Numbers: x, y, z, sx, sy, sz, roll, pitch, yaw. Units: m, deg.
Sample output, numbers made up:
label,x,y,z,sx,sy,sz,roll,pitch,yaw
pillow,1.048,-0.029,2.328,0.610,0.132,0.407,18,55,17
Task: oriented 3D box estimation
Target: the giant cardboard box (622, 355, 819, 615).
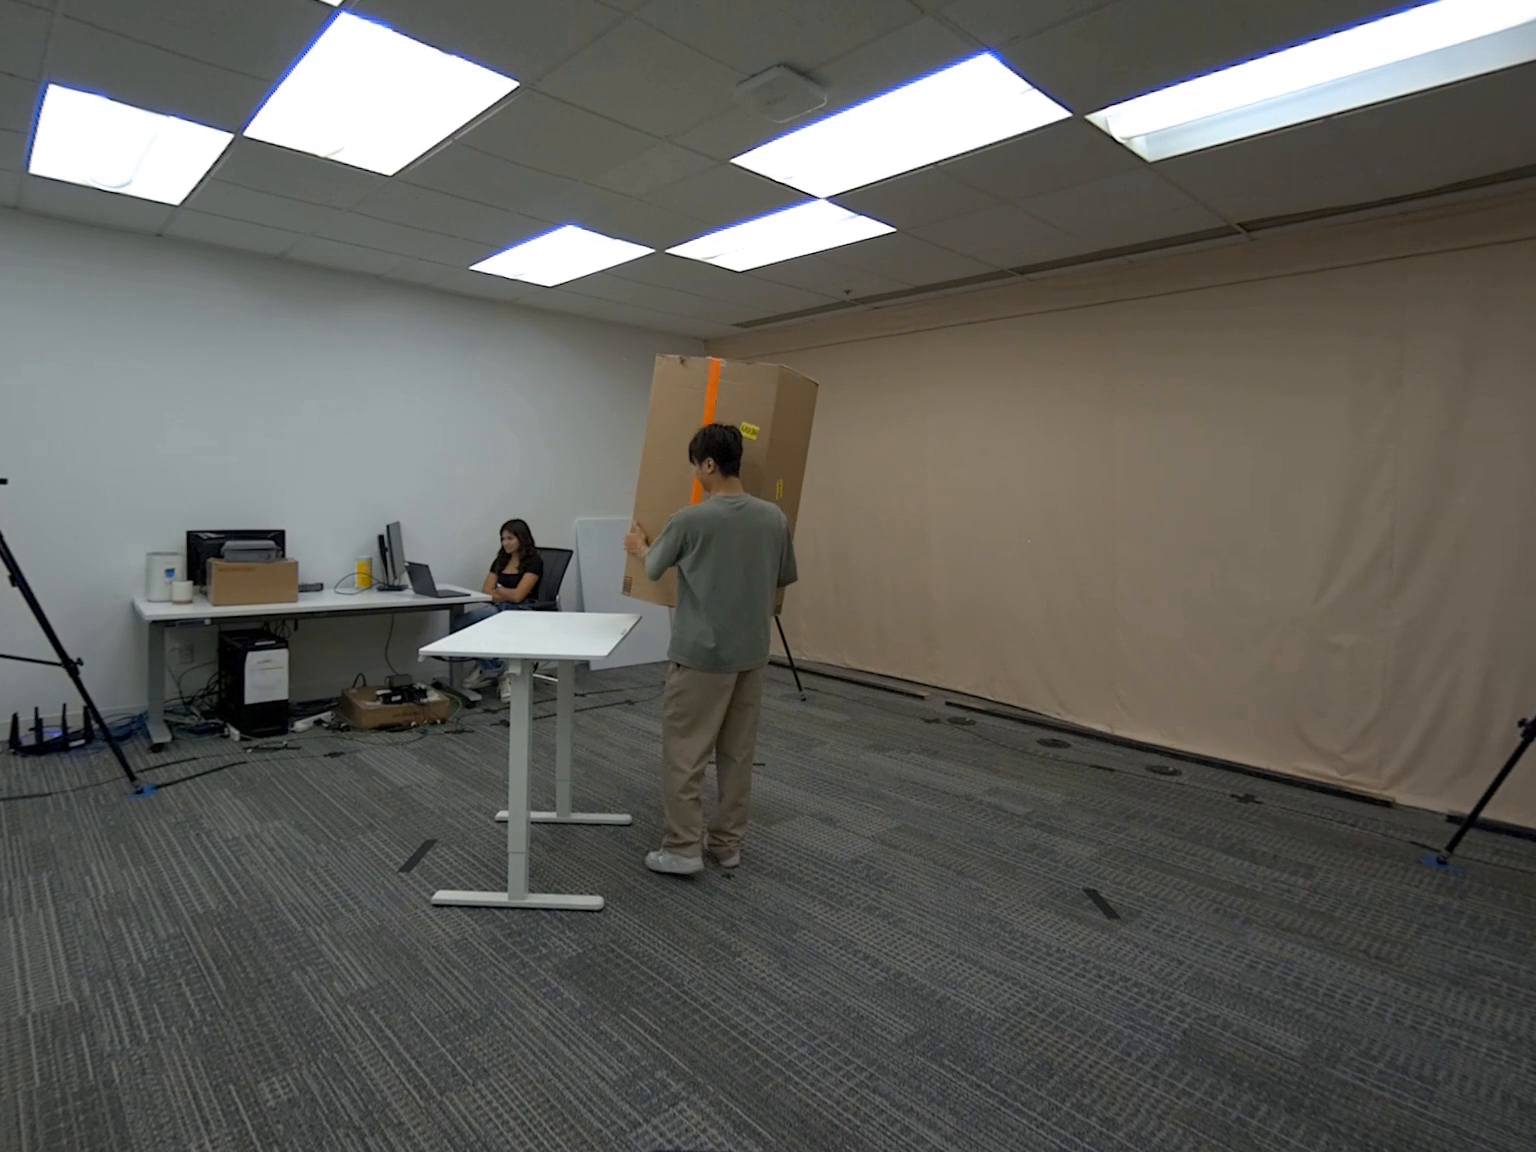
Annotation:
label,x,y,z,sx,sy,sz,roll,pitch,yaw
giant cardboard box,-0.210,-0.370,3.575,0.590,1.023,0.418,11,5,25
